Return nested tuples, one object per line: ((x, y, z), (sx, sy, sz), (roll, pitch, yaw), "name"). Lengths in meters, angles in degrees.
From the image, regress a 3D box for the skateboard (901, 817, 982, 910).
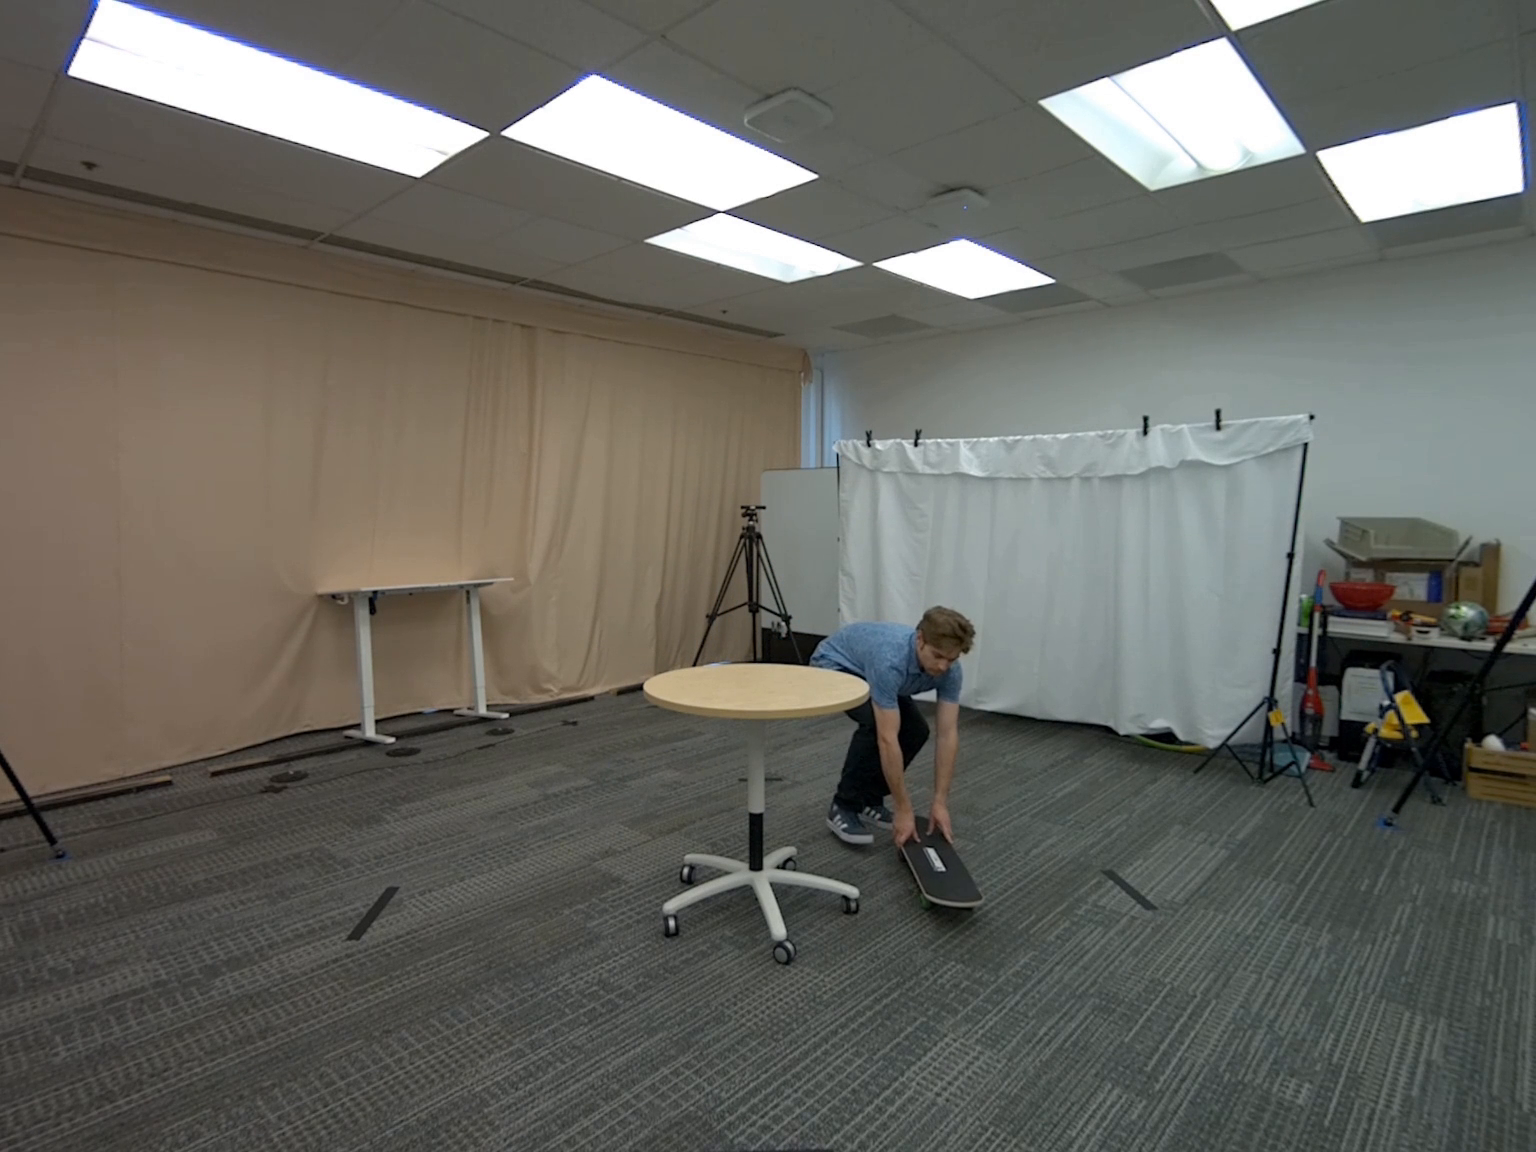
((0.619, 1.075, 3.103), (0.193, 0.110, 0.787), (0, 6, -1), "skateboard")
